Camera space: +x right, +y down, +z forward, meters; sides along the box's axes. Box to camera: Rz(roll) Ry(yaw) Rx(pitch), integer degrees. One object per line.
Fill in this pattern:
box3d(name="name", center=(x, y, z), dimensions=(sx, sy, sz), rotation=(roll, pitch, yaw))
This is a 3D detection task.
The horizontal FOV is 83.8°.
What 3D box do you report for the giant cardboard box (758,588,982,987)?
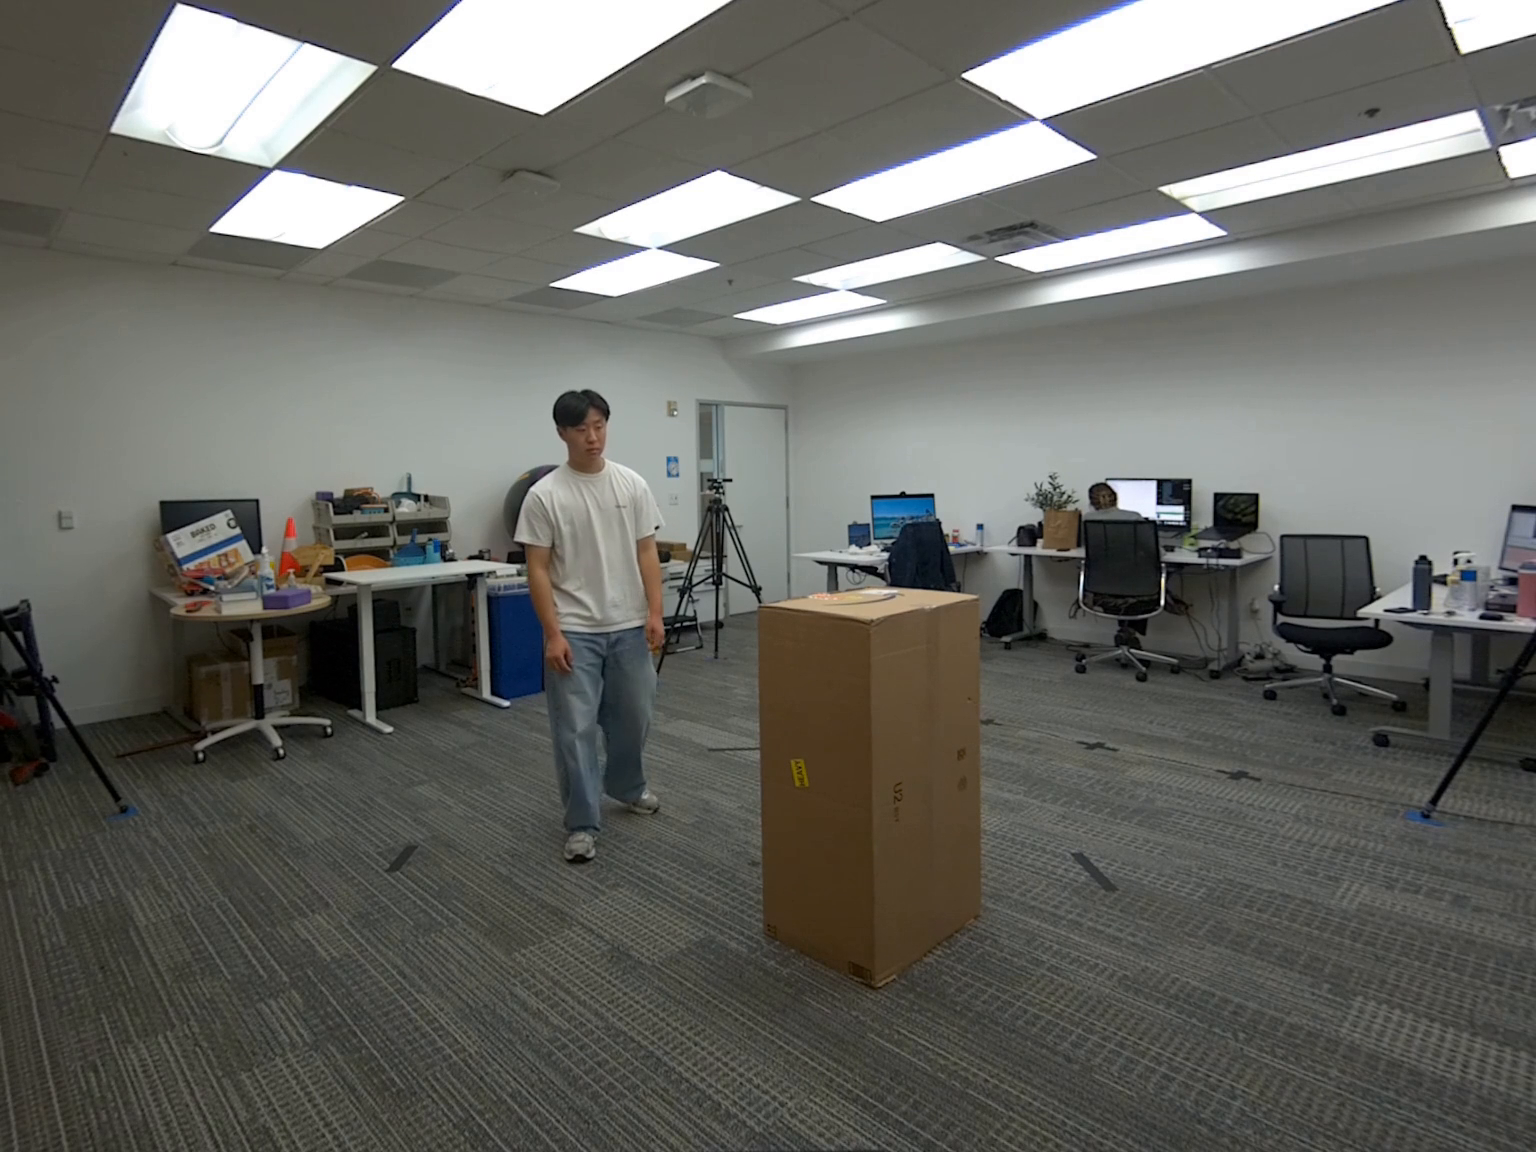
box3d(name="giant cardboard box", center=(0.327, 0.584, 2.642), dimensions=(0.439, 1.022, 0.562), rotation=(3, 5, 45))
